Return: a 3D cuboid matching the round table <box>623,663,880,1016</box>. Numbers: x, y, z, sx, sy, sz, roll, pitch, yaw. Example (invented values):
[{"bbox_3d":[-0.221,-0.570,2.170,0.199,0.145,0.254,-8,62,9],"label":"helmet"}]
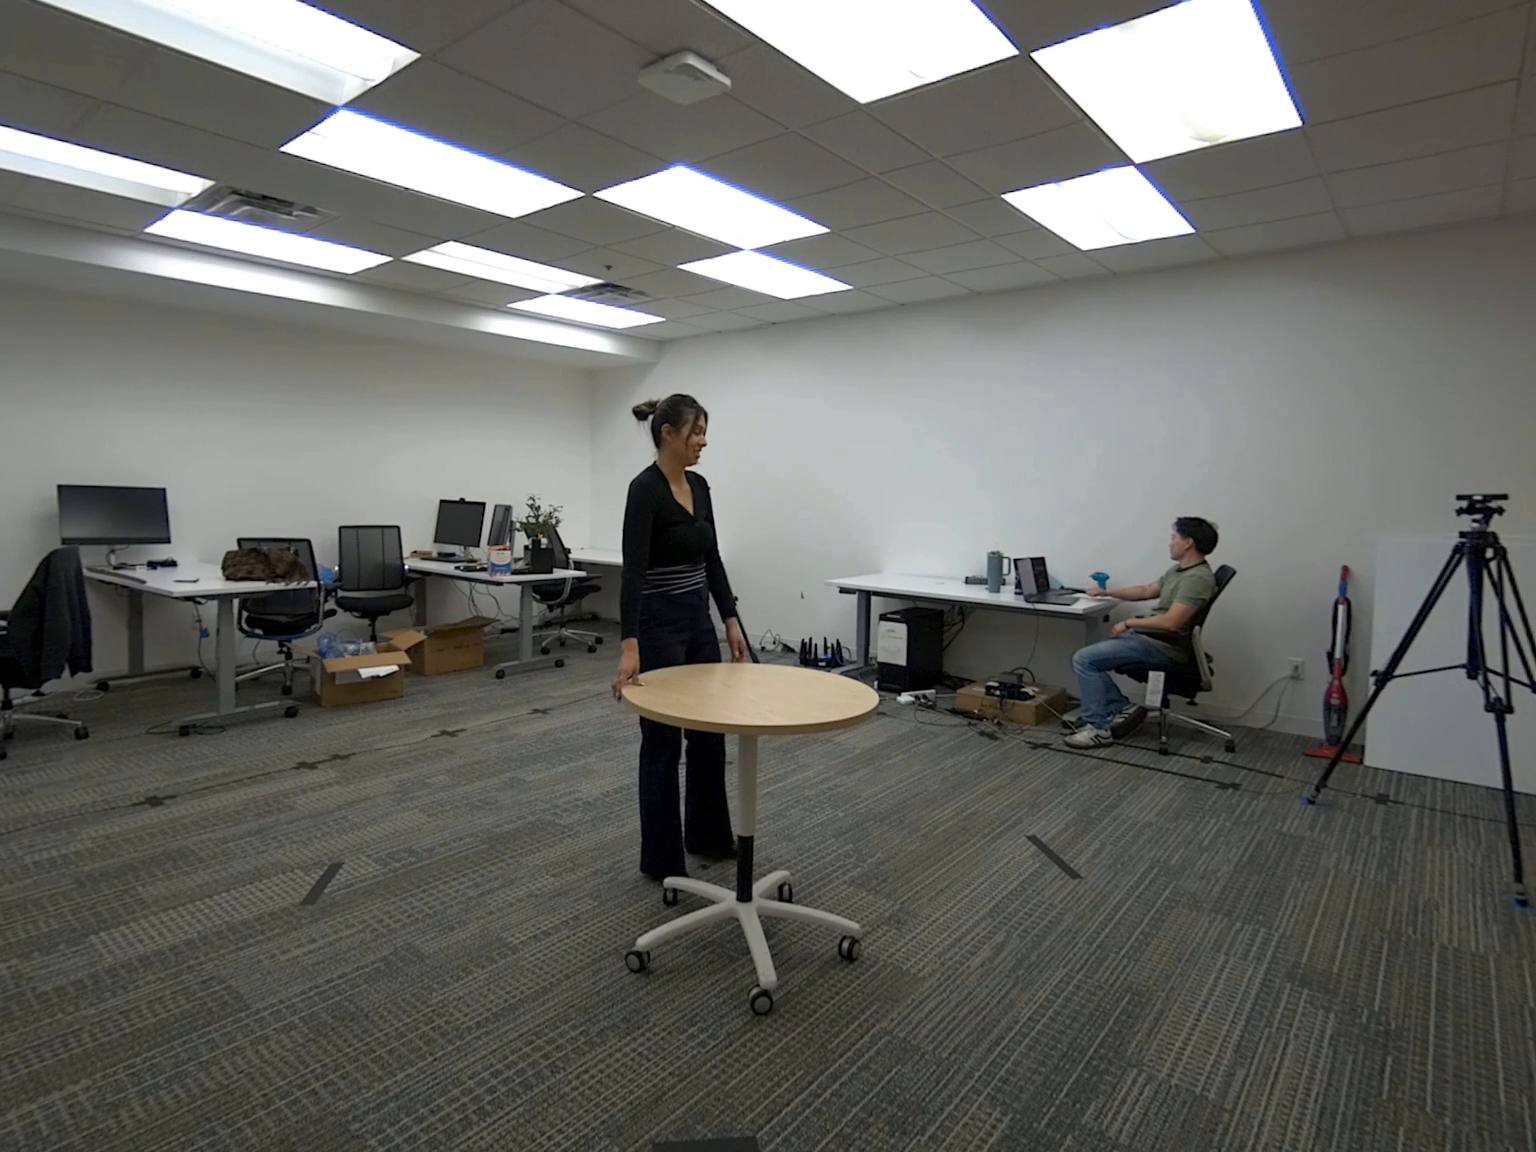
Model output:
[{"bbox_3d":[-0.074,0.730,2.573,0.763,0.791,0.768,2,4,-2],"label":"round table"}]
